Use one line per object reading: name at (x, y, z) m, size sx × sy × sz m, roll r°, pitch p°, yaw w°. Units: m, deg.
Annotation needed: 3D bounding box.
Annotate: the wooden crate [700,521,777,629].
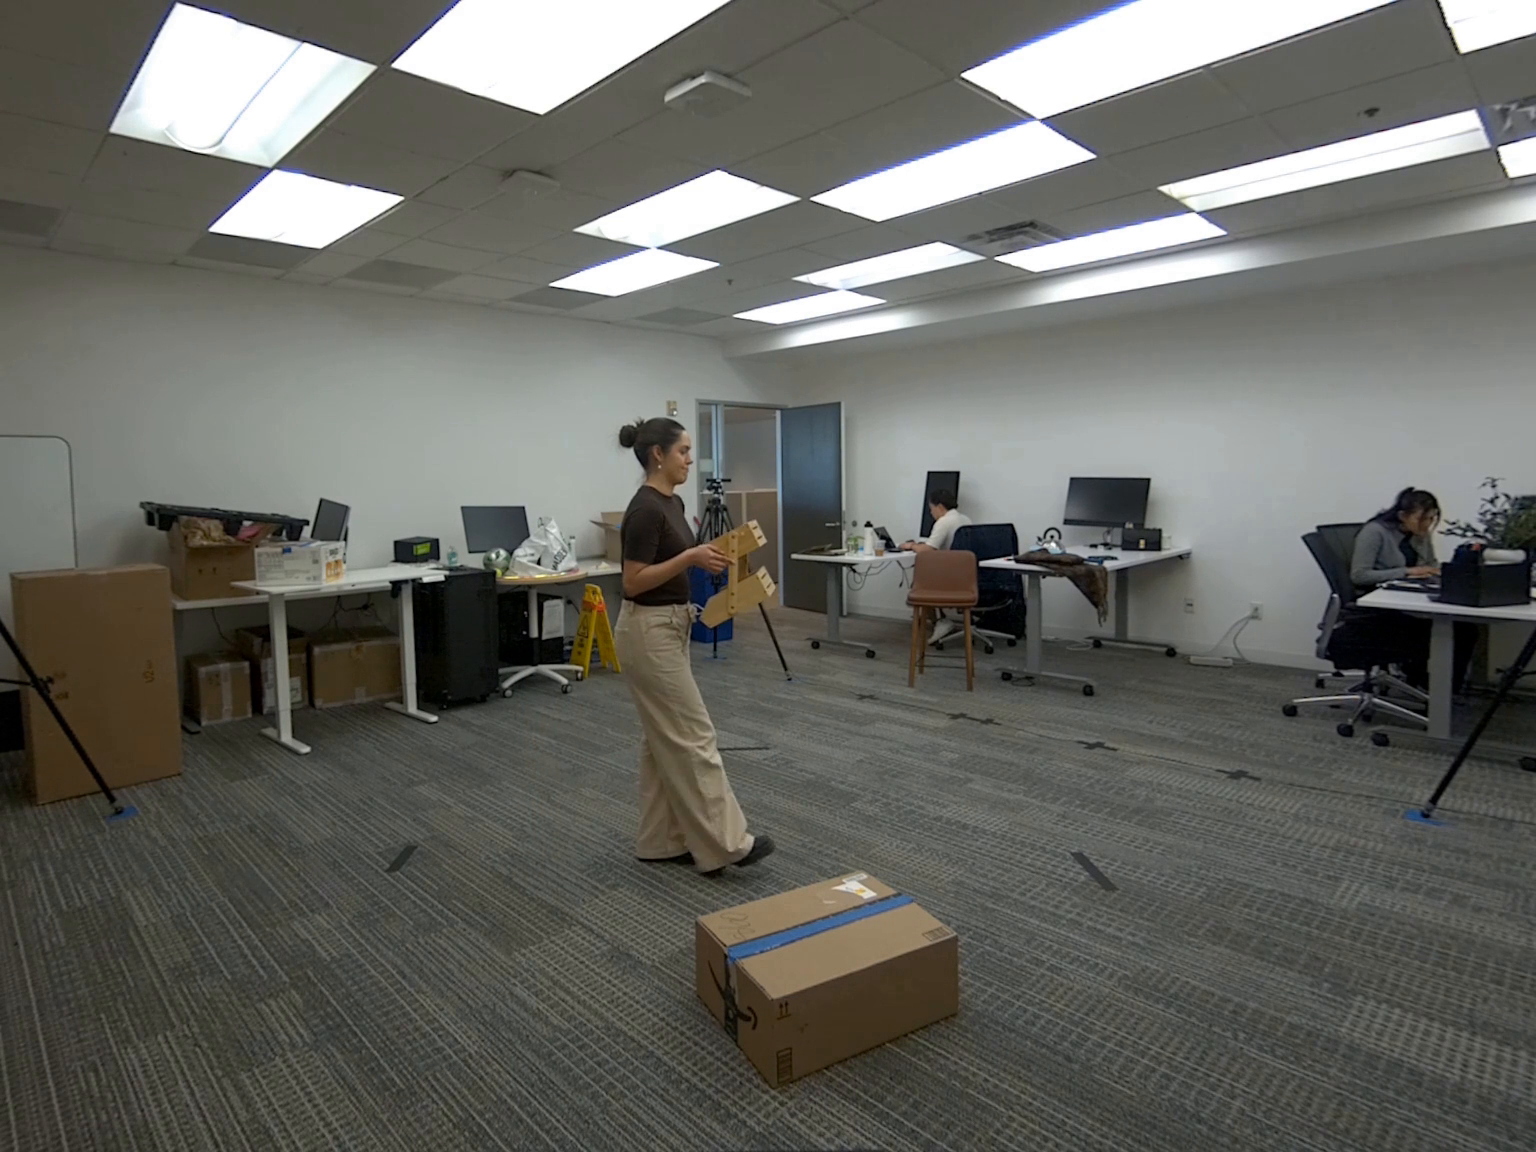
wooden crate at (-0.134, -0.011, 3.037) m, size 0.303 × 0.273 × 0.324 m, roll -27°, pitch 2°, yaw 4°
